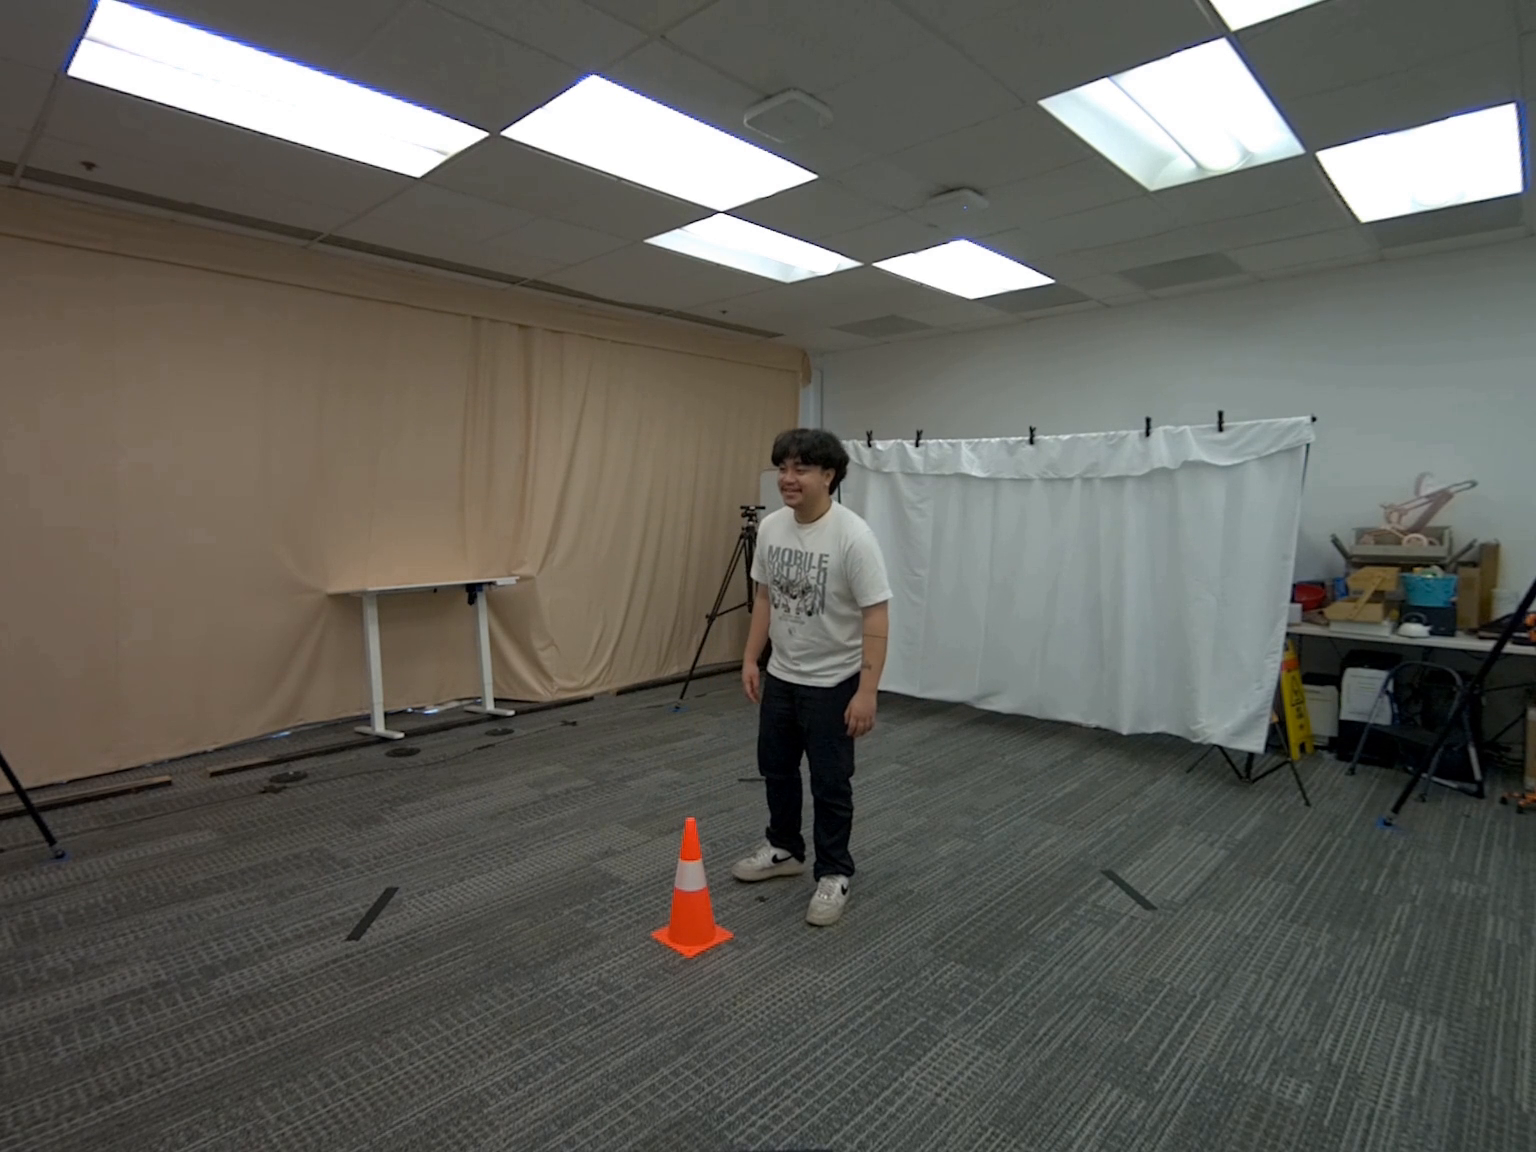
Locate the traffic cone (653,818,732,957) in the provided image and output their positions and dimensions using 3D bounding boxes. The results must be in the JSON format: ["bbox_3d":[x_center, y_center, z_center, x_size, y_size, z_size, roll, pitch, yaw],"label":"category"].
[{"bbox_3d":[-0.250,0.979,2.725,0.197,0.383,0.212,-2,3,-42],"label":"traffic cone"}]
